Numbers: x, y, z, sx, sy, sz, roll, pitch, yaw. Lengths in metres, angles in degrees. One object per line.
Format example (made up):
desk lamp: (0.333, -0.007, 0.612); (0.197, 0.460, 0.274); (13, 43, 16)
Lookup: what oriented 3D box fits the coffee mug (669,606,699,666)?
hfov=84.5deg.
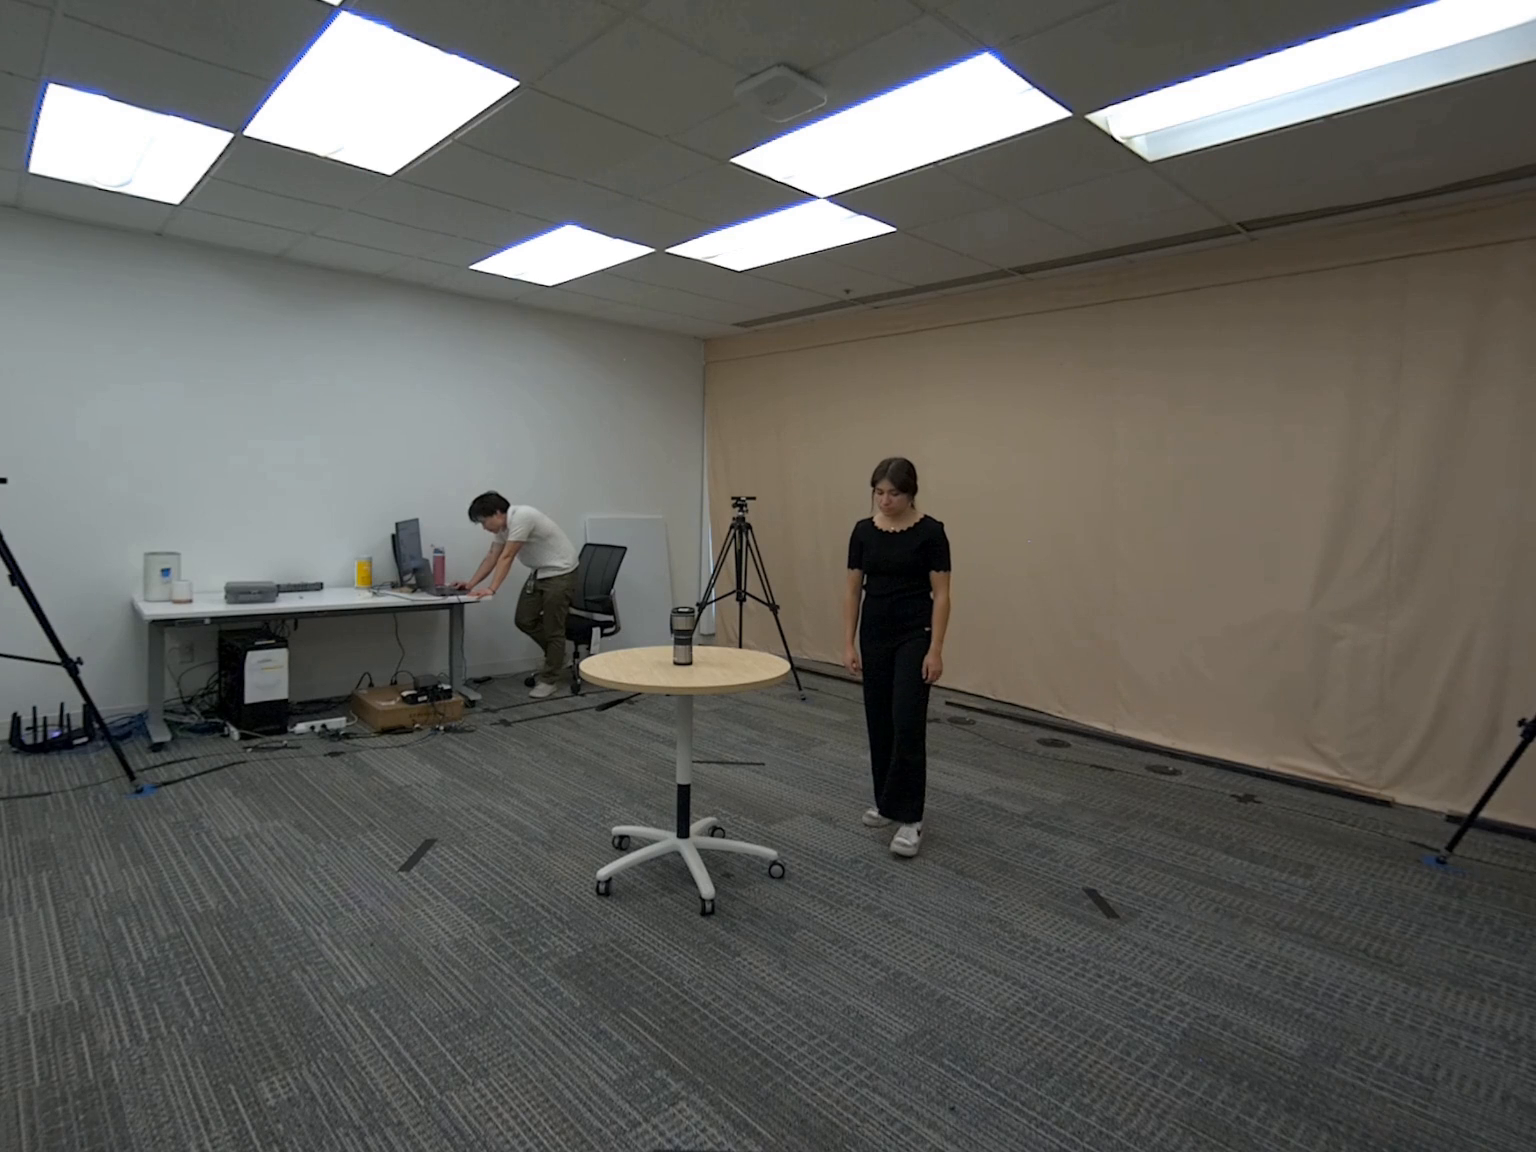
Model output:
coffee mug: (-0.305, 0.221, 3.071); (0.090, 0.202, 0.120); (0, 5, 29)
